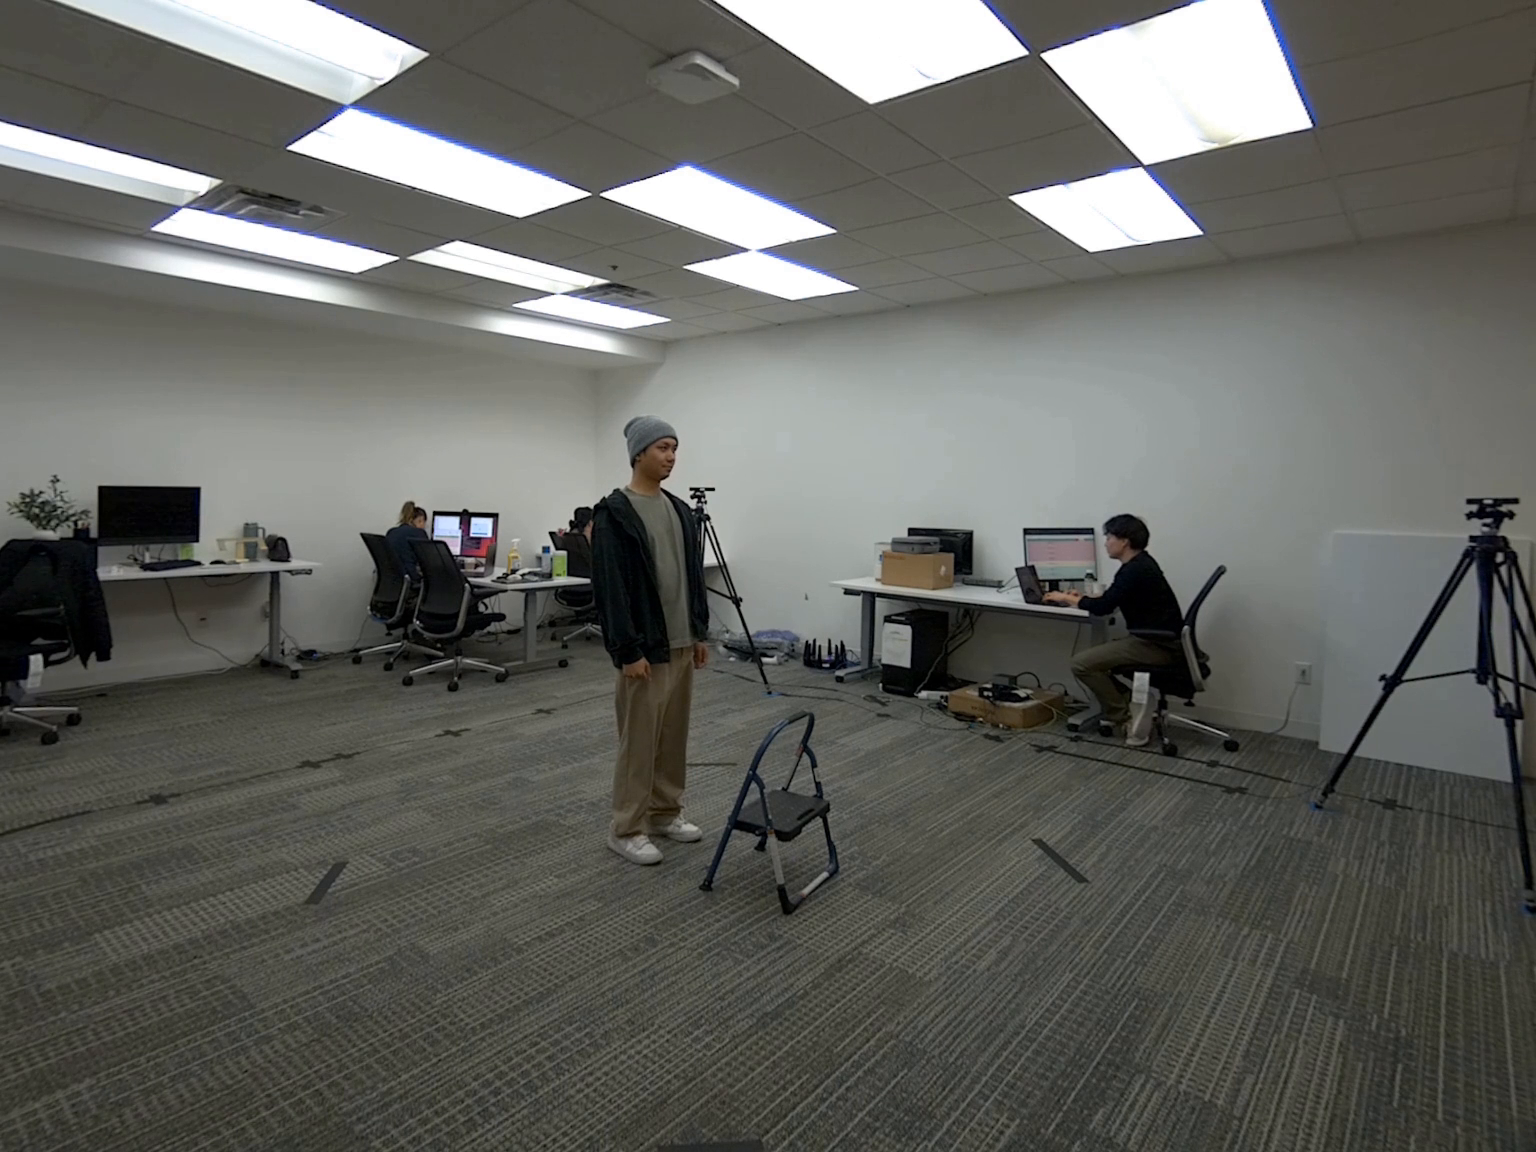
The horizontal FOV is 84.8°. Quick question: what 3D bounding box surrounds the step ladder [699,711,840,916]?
[{"bbox_3d":[0.014,0.777,3.017,0.359,0.604,0.420,3,4,29],"label":"step ladder"}]
